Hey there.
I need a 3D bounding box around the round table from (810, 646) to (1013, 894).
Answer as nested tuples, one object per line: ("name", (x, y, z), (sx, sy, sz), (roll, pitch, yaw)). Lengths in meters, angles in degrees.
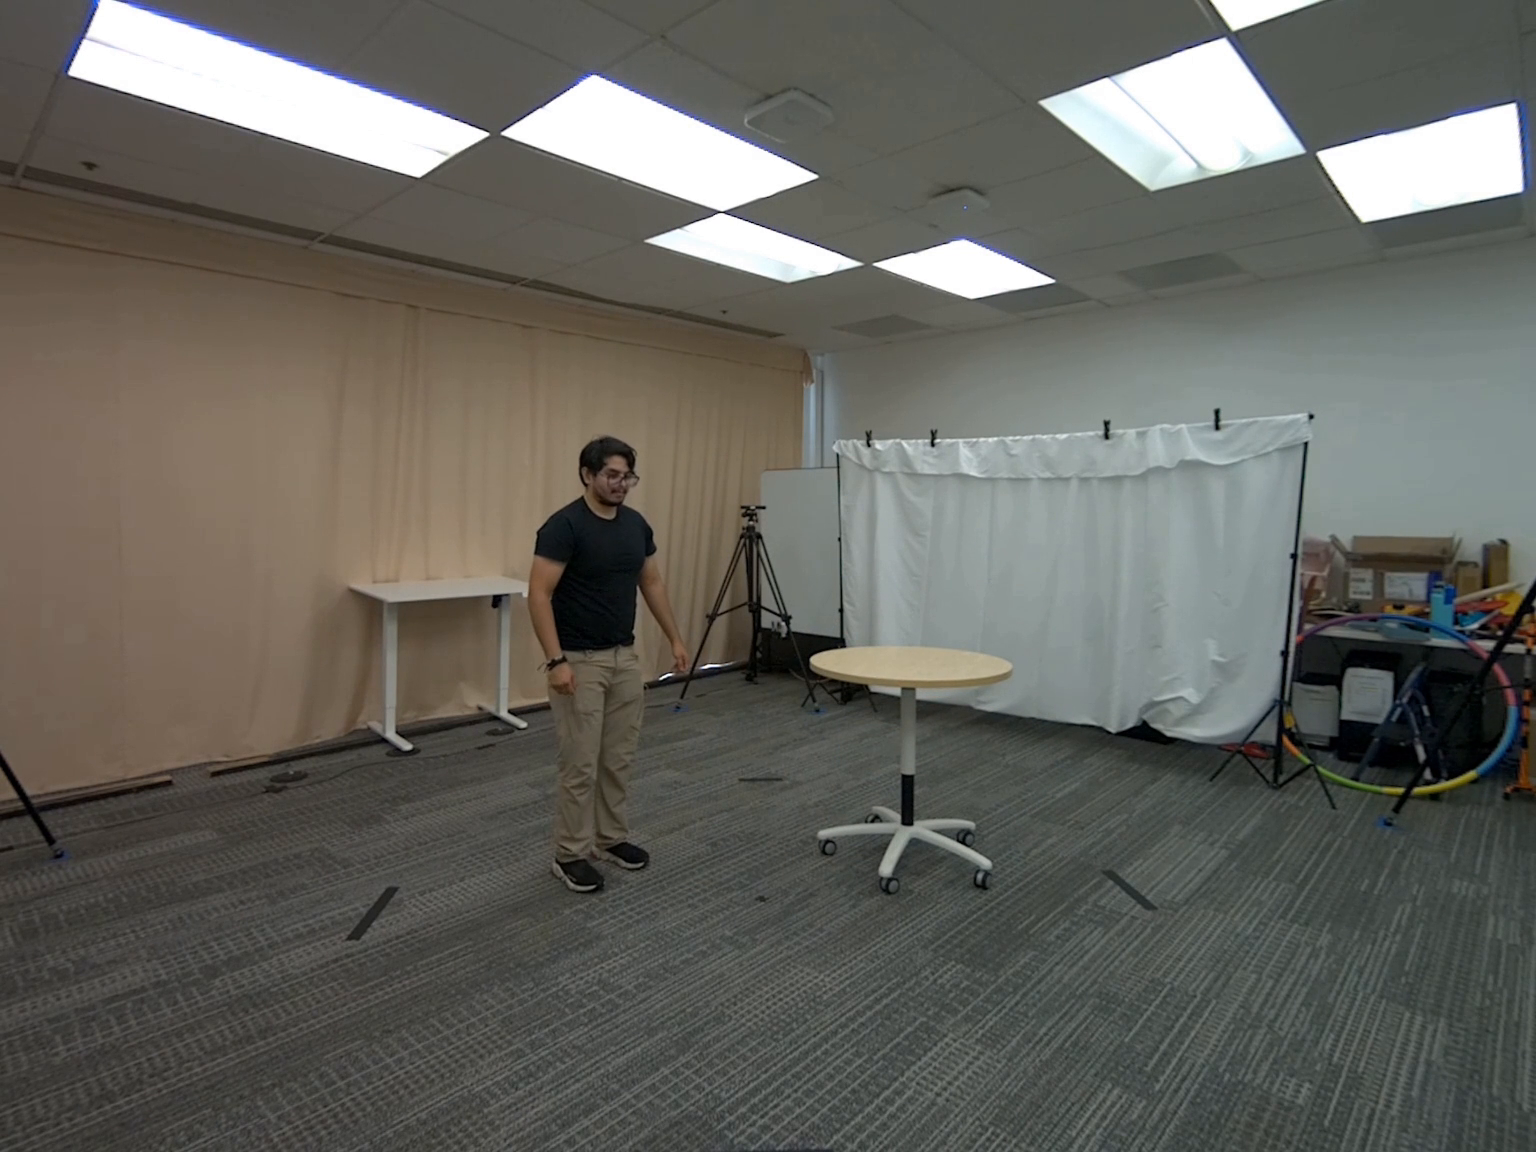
("round table", (0.562, 0.728, 3.277), (0.784, 0.785, 0.787), (0, 3, -2))
